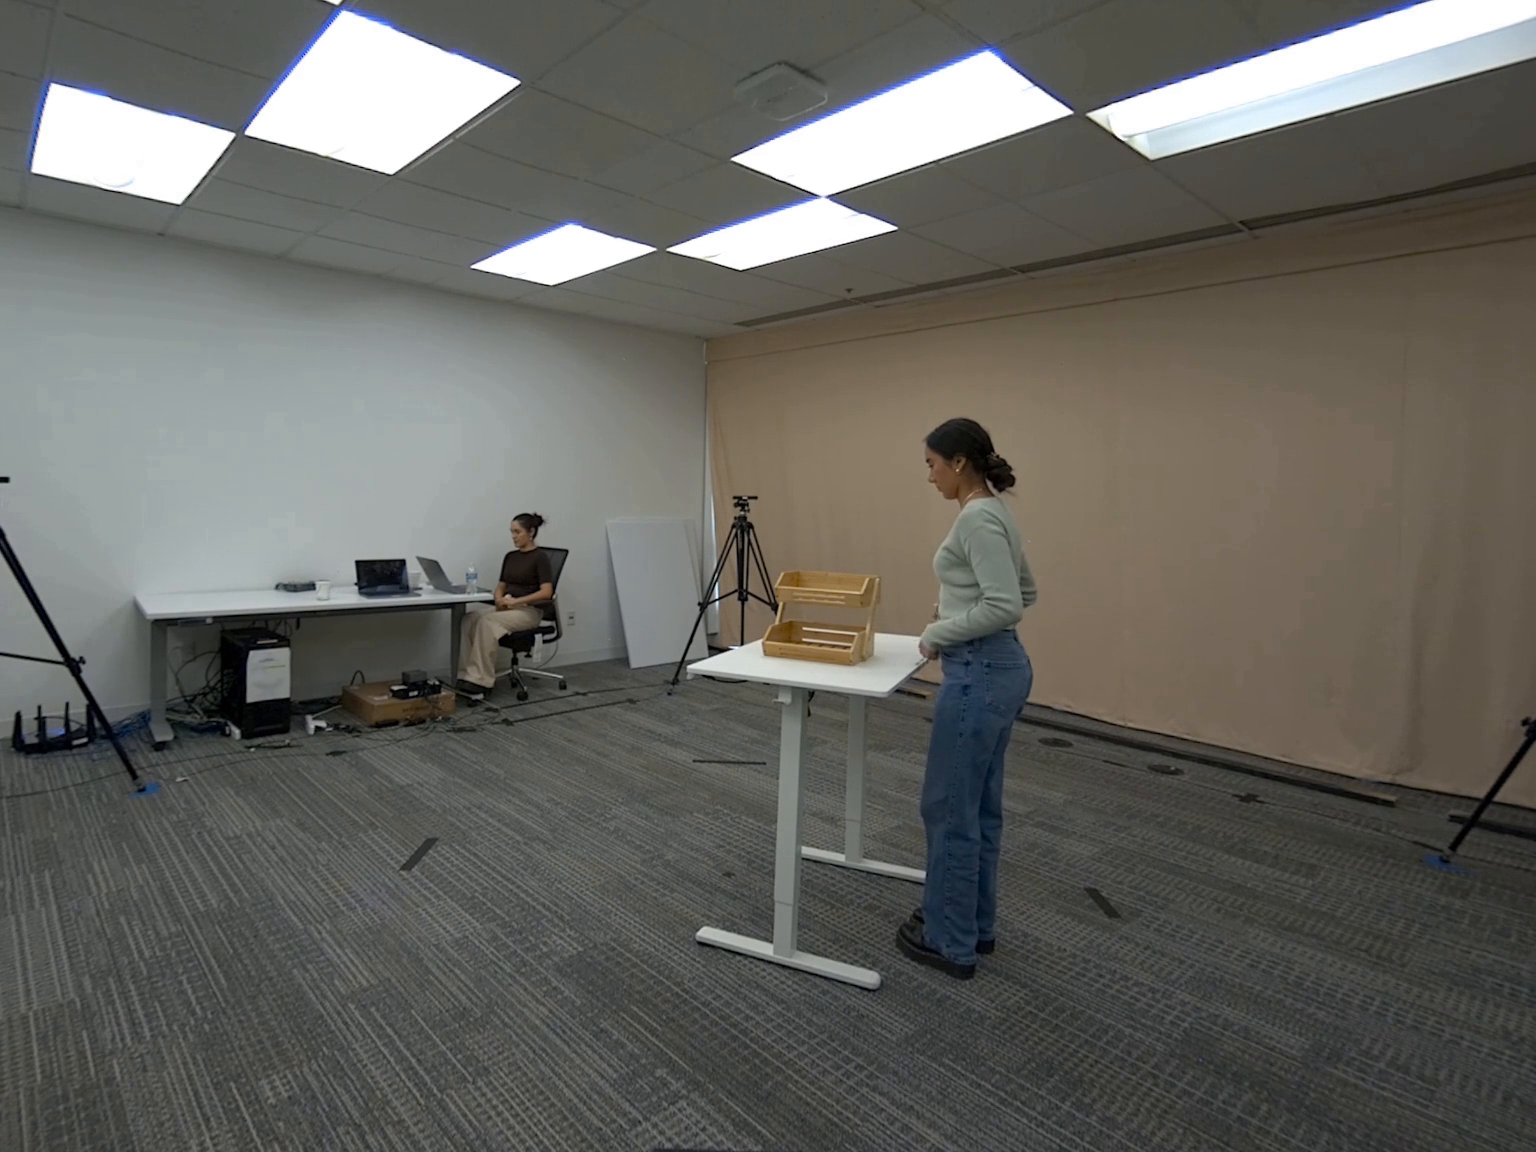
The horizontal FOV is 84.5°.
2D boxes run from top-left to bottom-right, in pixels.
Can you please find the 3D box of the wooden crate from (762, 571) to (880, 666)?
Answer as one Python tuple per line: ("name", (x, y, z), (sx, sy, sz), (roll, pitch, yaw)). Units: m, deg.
("wooden crate", (0.159, 0.125, 2.757), (0.330, 0.273, 0.297), (3, 4, 23))
